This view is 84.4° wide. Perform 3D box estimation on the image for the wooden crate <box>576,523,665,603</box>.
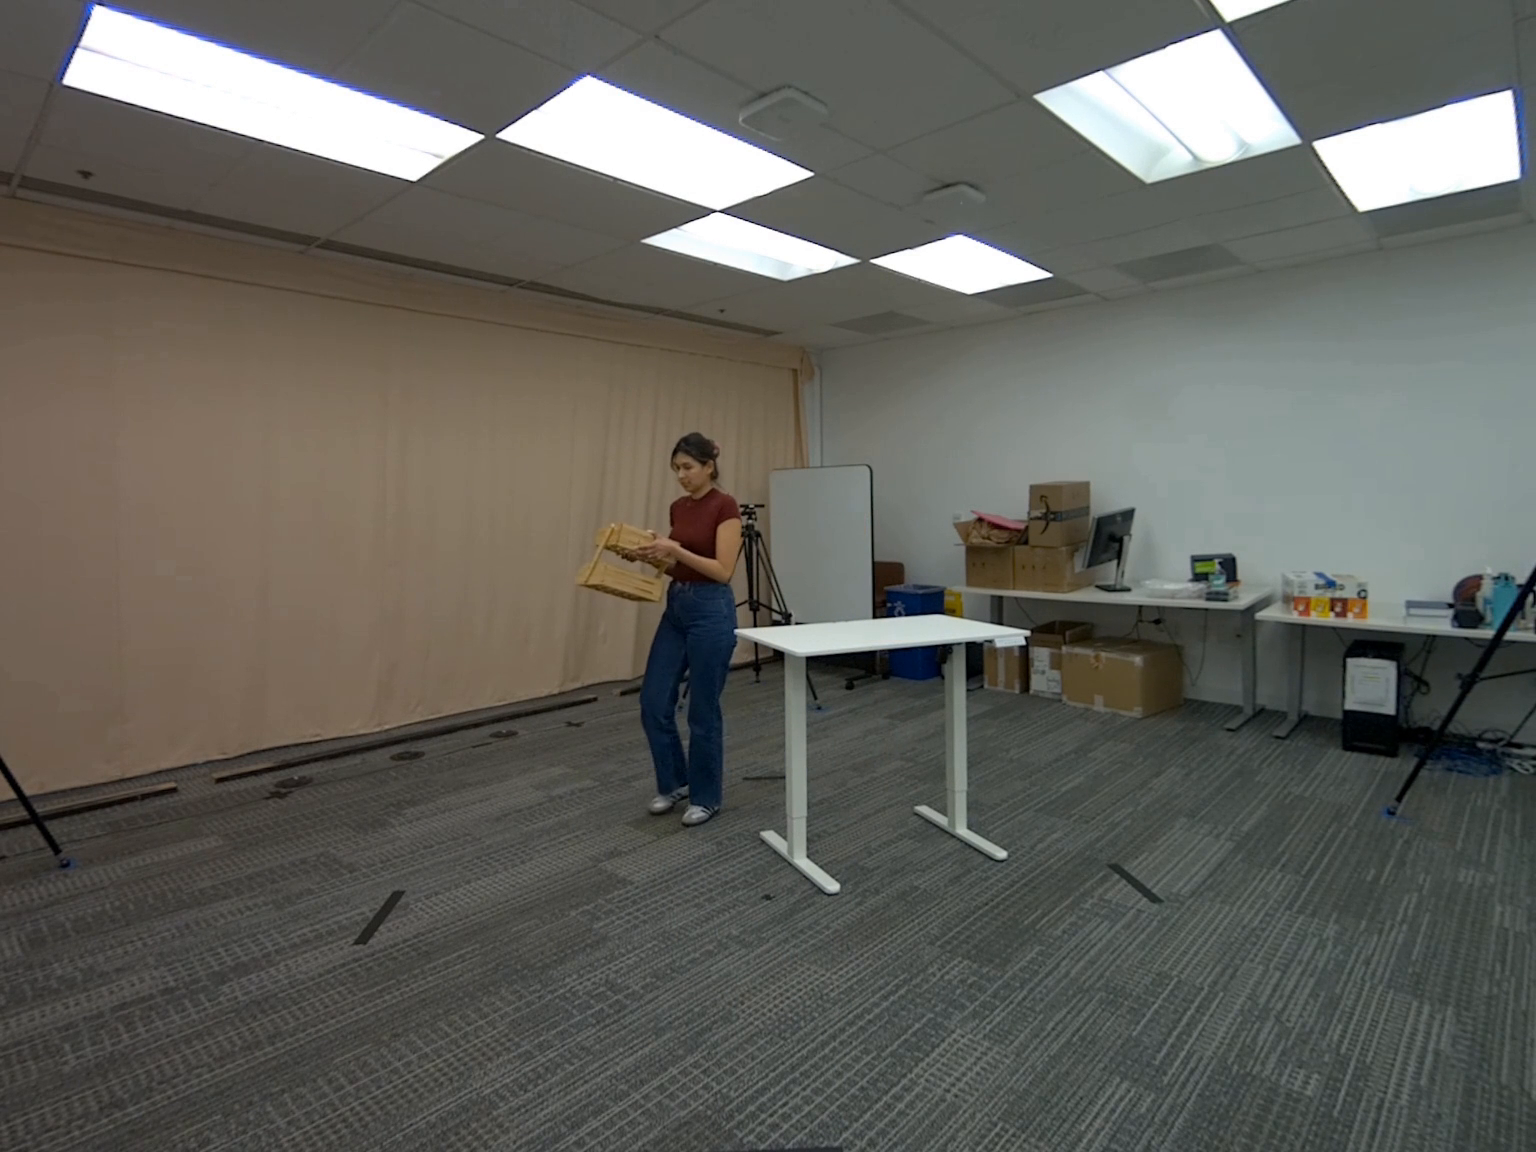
[{"bbox_3d":[-0.610,-0.053,3.609,0.313,0.274,0.311,20,-12,-36],"label":"wooden crate"}]
